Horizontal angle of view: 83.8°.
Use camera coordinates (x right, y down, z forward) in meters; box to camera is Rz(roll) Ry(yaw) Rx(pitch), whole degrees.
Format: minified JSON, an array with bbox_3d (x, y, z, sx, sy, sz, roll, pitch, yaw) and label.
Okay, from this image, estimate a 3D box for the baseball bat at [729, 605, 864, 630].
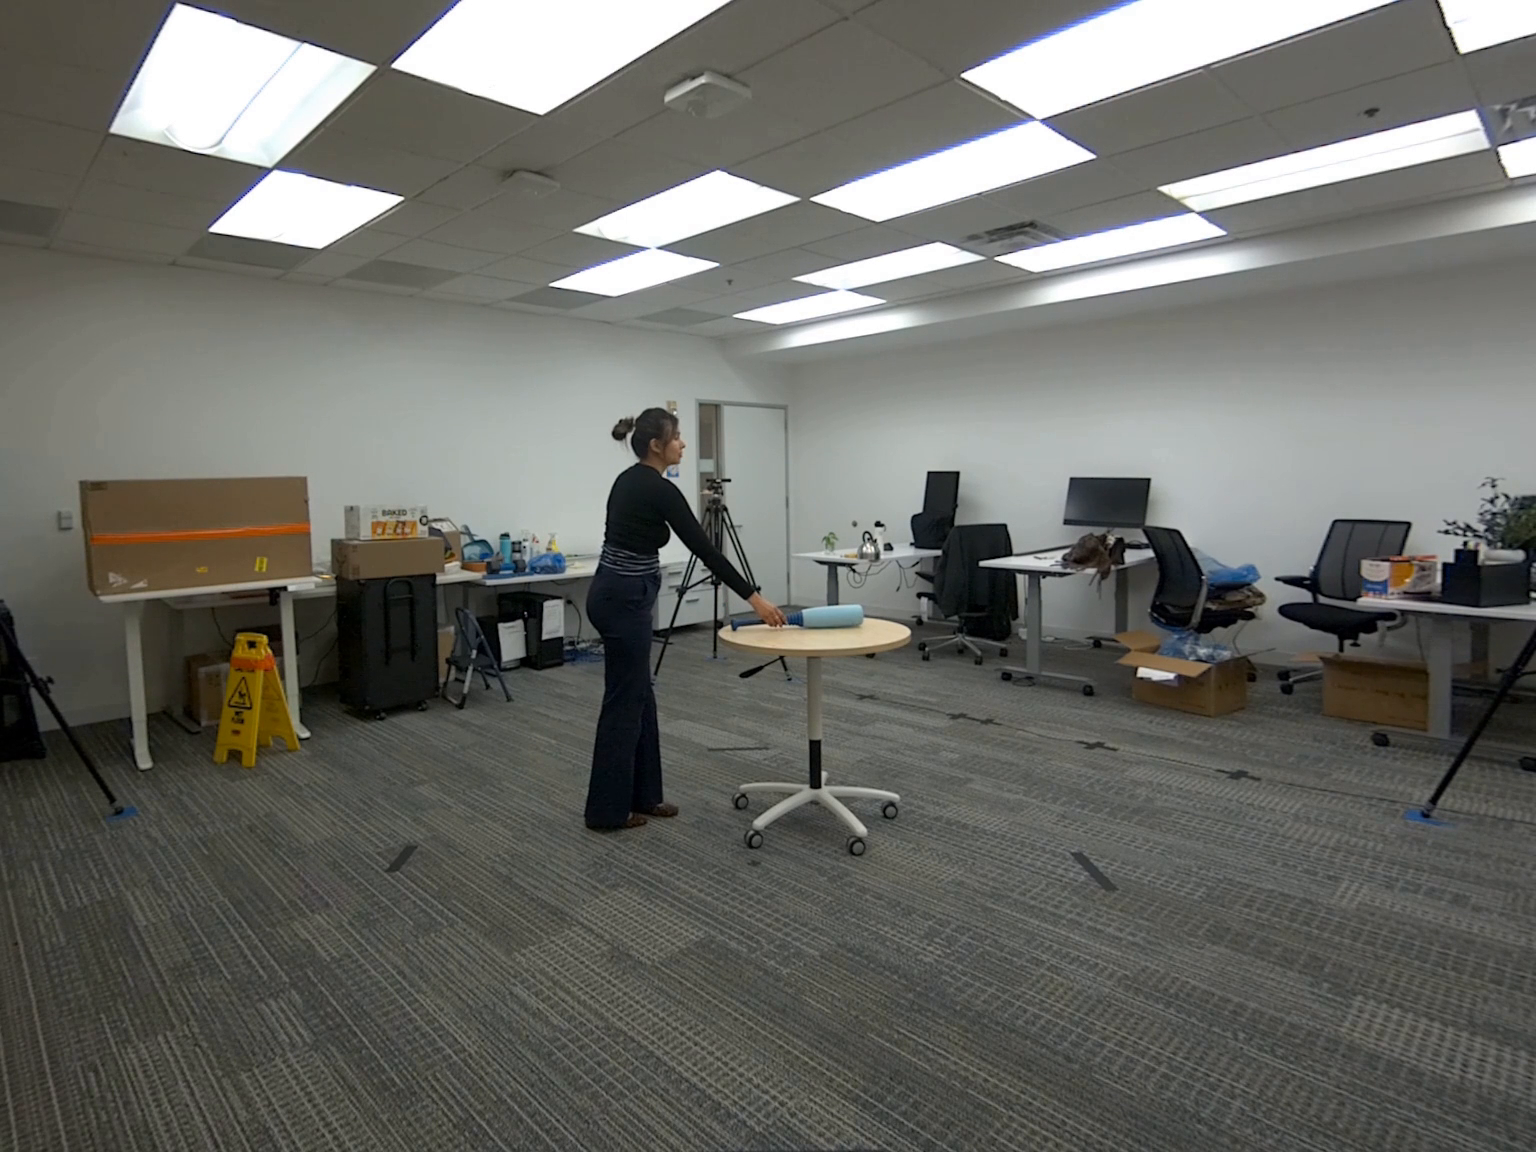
[{"bbox_3d":[0.113,0.175,3.491,0.542,0.089,0.089,-4,5,-1],"label":"baseball bat"}]
